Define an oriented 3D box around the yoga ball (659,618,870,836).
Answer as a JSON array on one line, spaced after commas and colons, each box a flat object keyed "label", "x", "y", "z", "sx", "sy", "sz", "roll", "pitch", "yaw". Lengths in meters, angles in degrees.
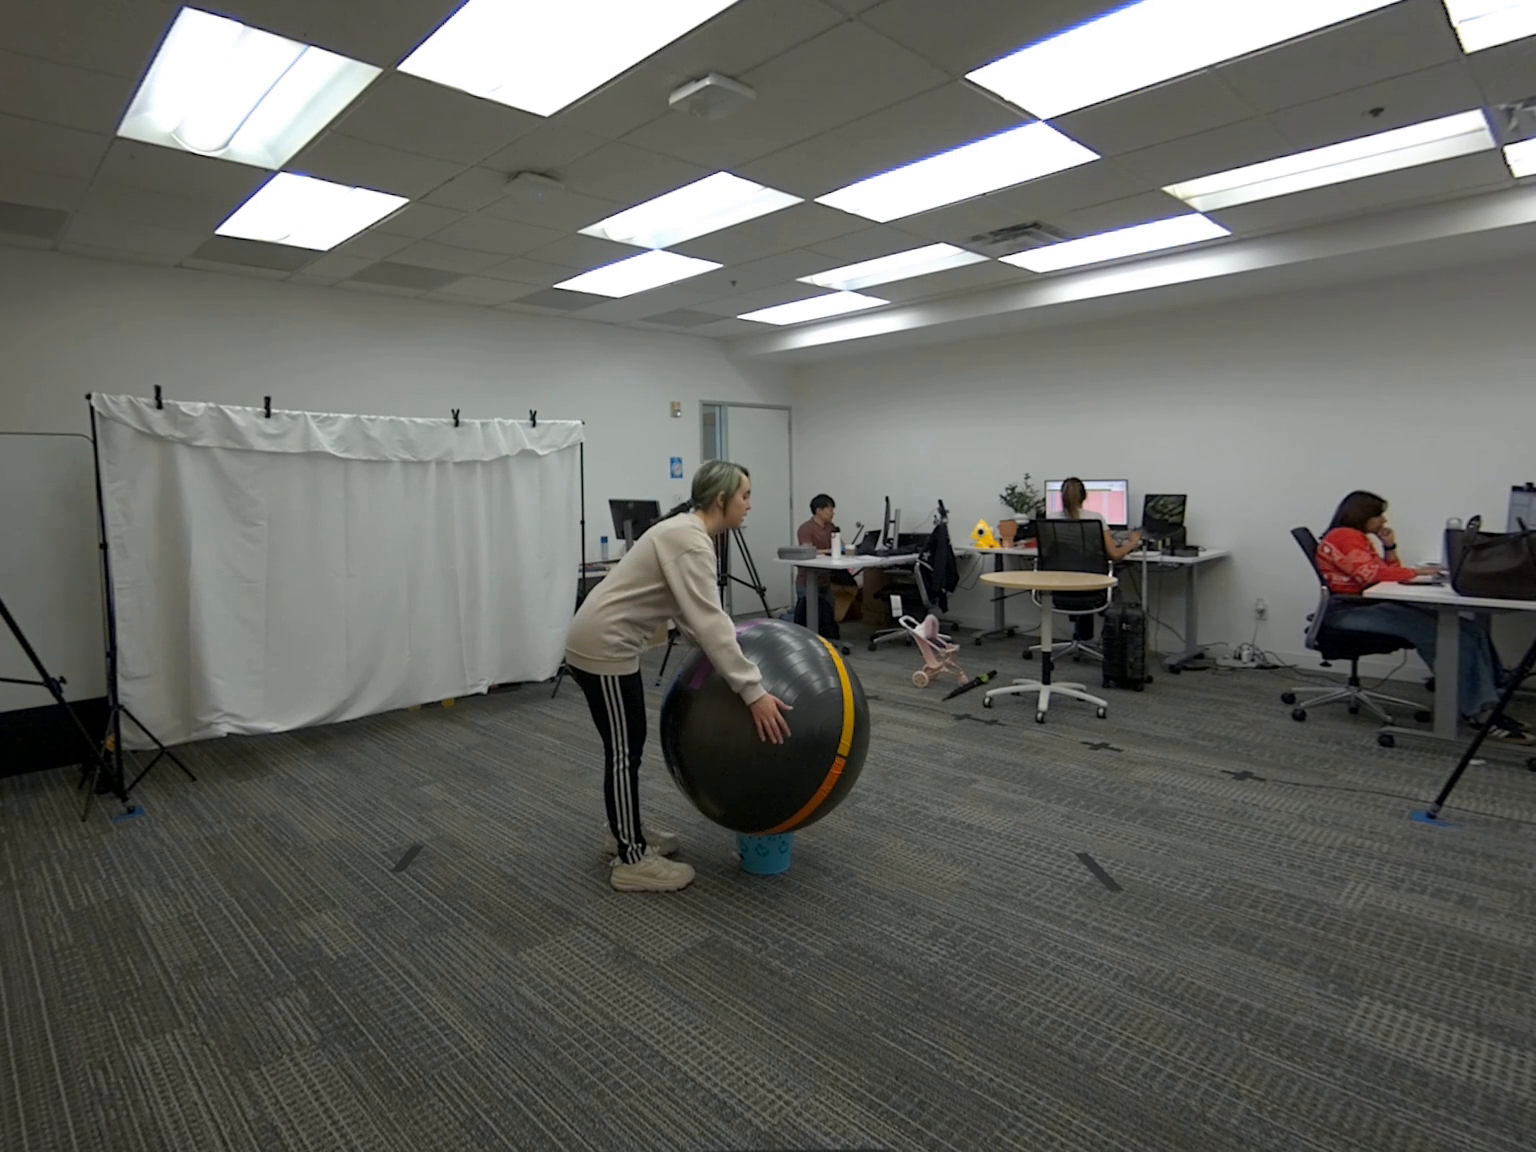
[{"label": "yoga ball", "x": -0.006, "y": 0.539, "z": 3.078, "sx": 0.757, "sy": 0.755, "sz": 0.762, "roll": -1, "pitch": 5, "yaw": -2}]
